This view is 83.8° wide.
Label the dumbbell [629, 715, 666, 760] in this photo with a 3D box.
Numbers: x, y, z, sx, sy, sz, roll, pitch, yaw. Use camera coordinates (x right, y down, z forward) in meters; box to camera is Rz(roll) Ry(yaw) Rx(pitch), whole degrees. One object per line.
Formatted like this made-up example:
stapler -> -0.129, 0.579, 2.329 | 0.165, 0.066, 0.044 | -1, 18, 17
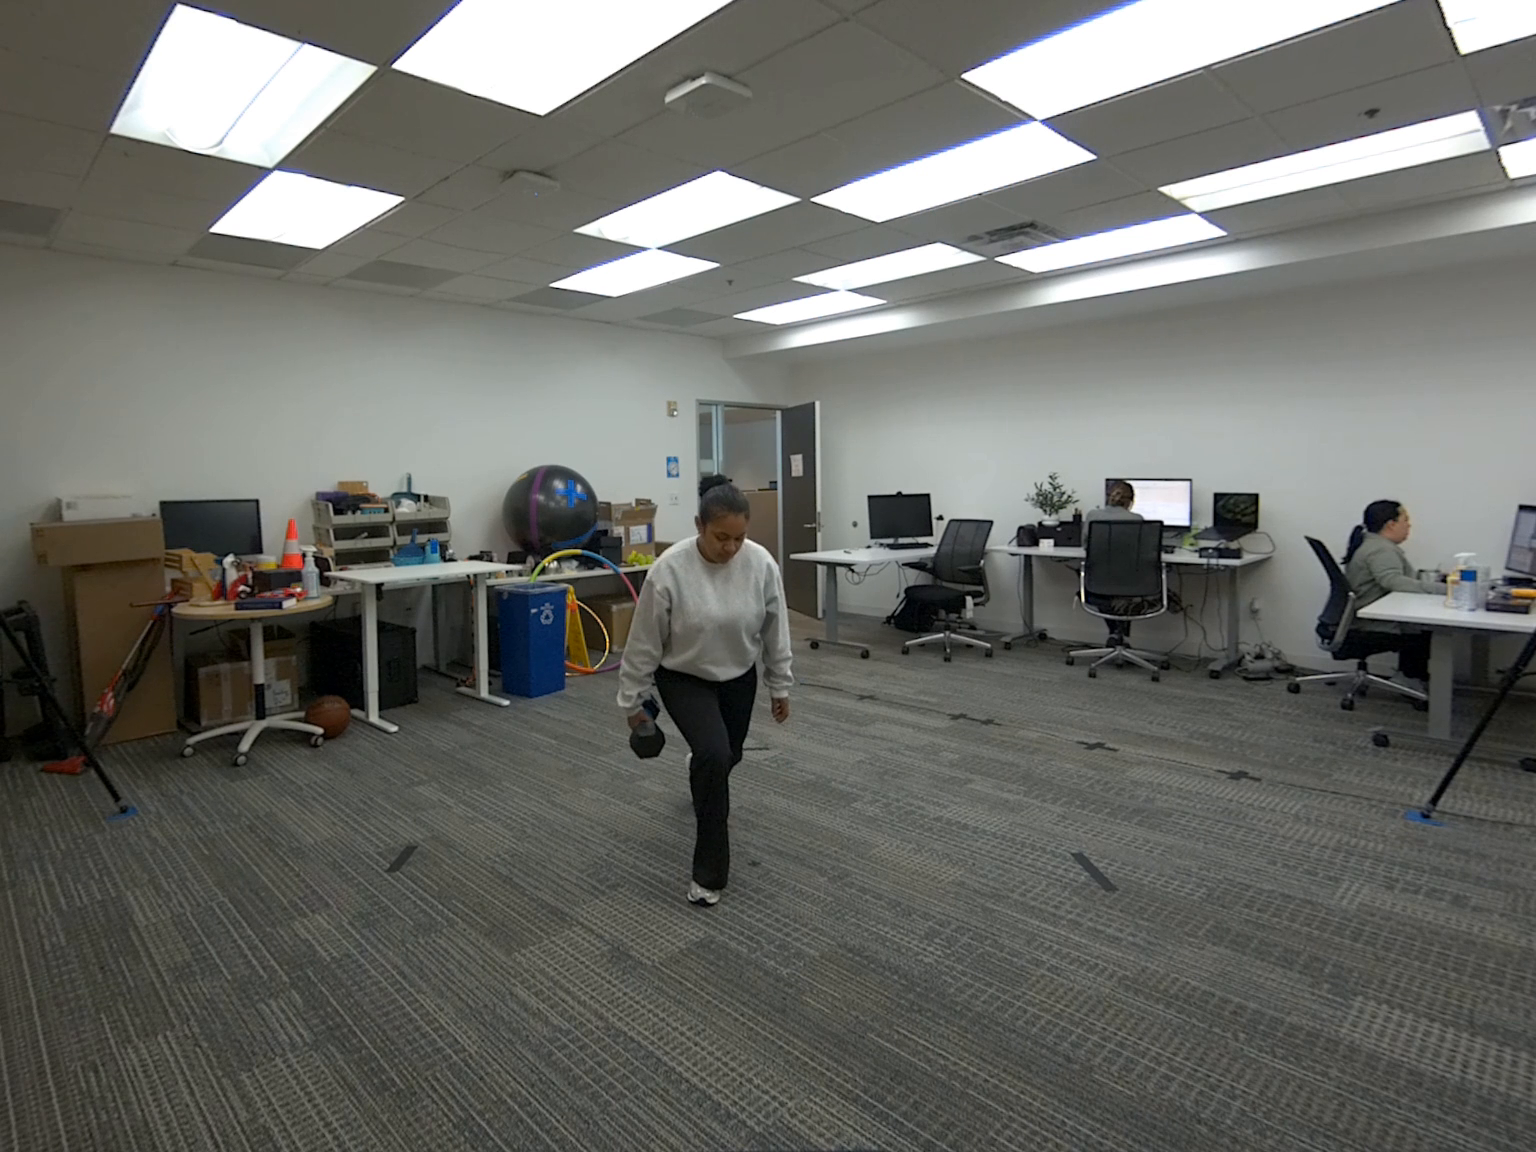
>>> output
dumbbell -> -0.435, 0.530, 3.041 | 0.106, 0.122, 0.301 | 23, 14, -19
